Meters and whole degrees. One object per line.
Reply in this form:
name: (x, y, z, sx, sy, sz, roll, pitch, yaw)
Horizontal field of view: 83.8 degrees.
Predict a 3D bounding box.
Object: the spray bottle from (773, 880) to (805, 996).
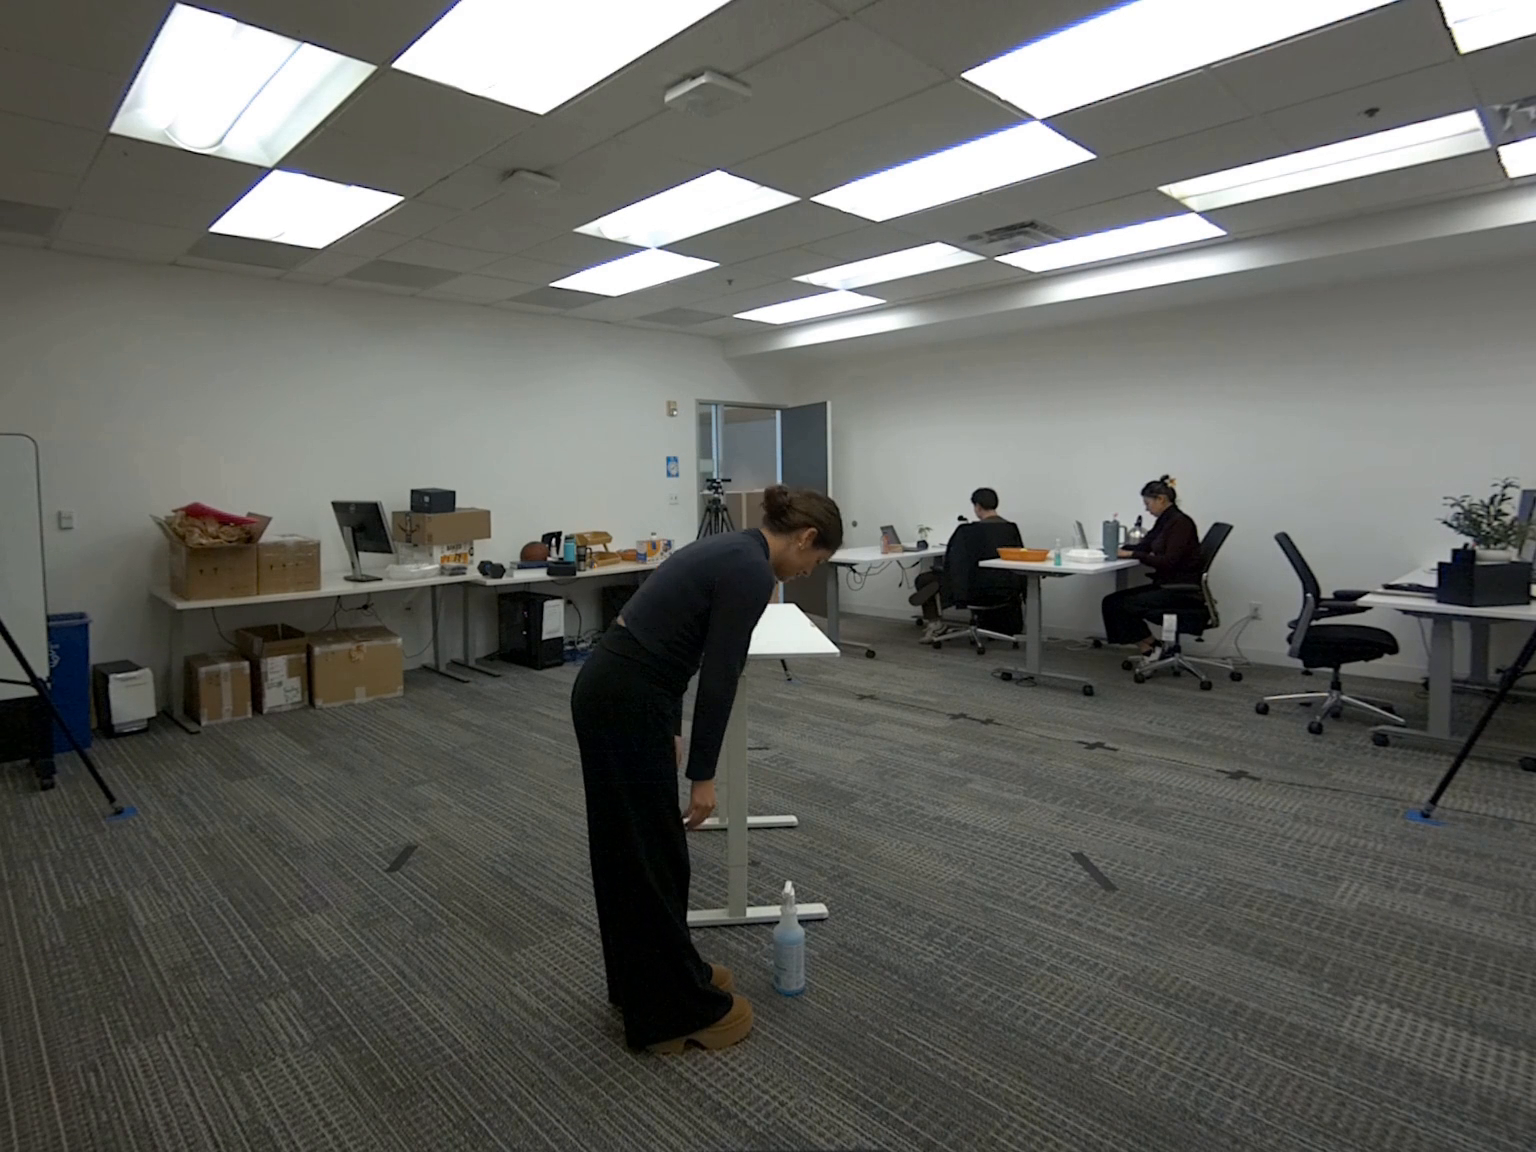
spray bottle: (0.065, 0.989, 2.336, 0.089, 0.296, 0.088, 2, 5, 30)
